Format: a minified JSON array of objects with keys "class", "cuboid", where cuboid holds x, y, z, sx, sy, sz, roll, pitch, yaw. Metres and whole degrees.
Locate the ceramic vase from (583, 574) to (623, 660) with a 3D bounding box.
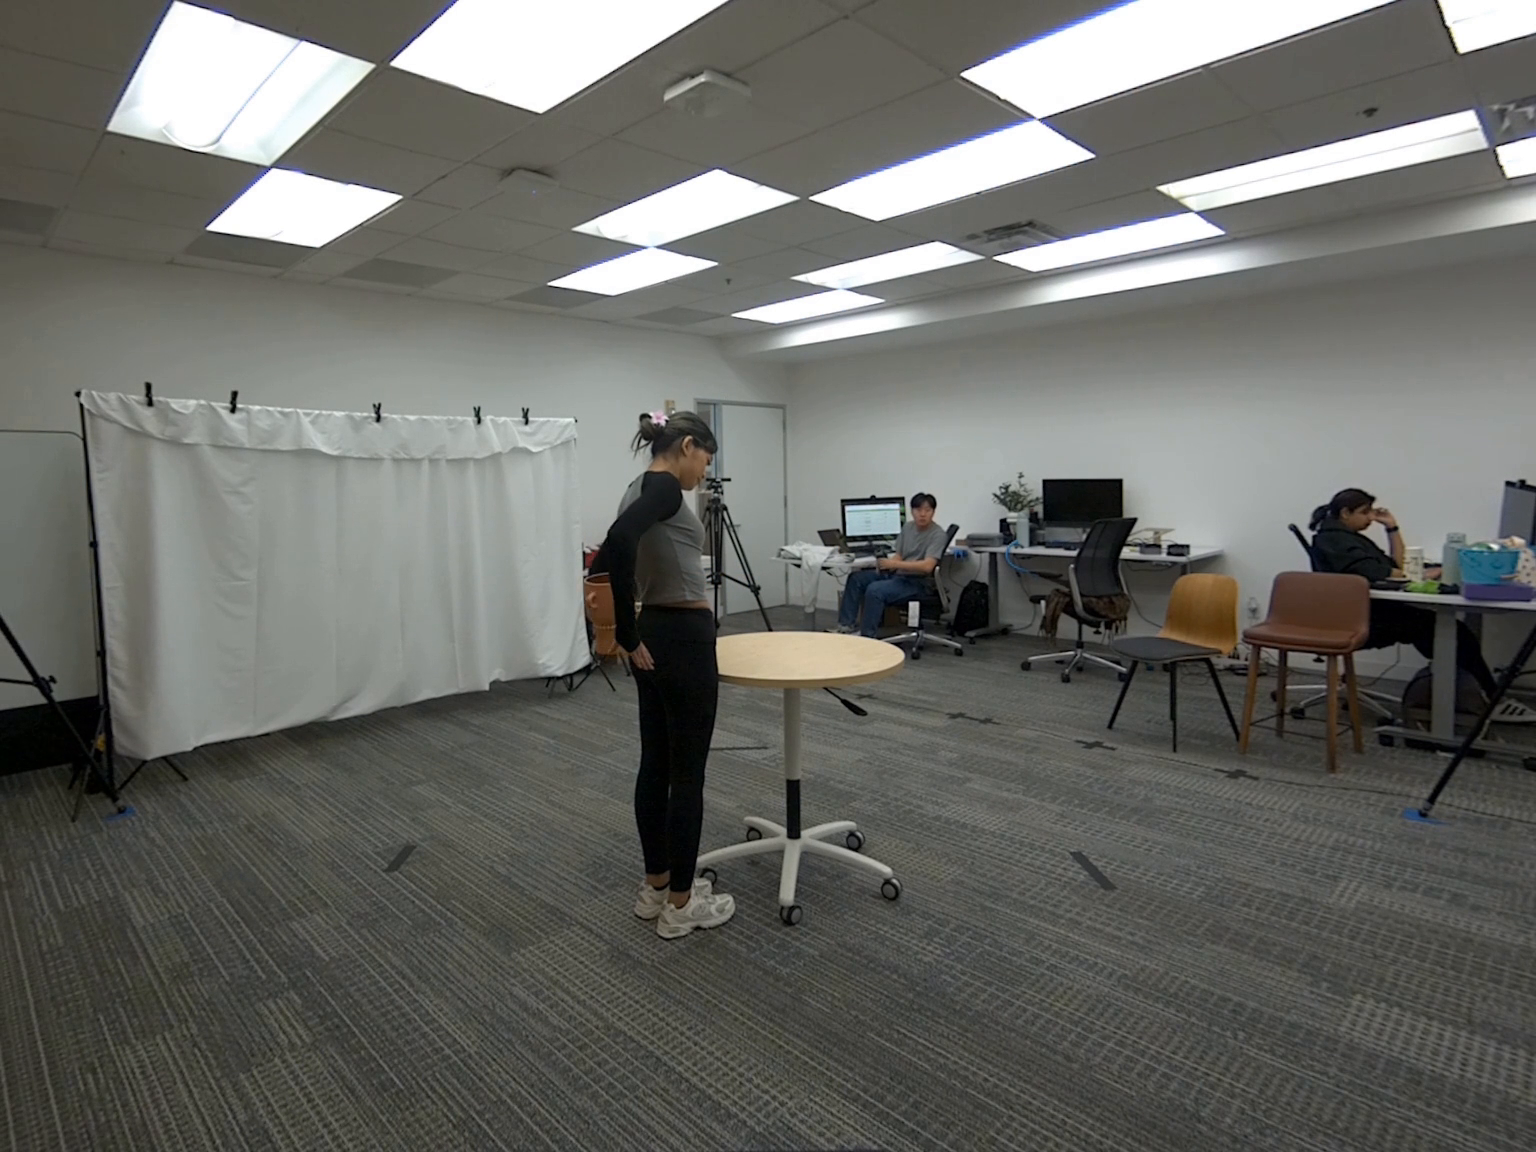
[{"class":"ceramic vase","cuboid":[-0.466,0.116,2.538,0.155,0.218,0.139,-9,11,-32]}]
